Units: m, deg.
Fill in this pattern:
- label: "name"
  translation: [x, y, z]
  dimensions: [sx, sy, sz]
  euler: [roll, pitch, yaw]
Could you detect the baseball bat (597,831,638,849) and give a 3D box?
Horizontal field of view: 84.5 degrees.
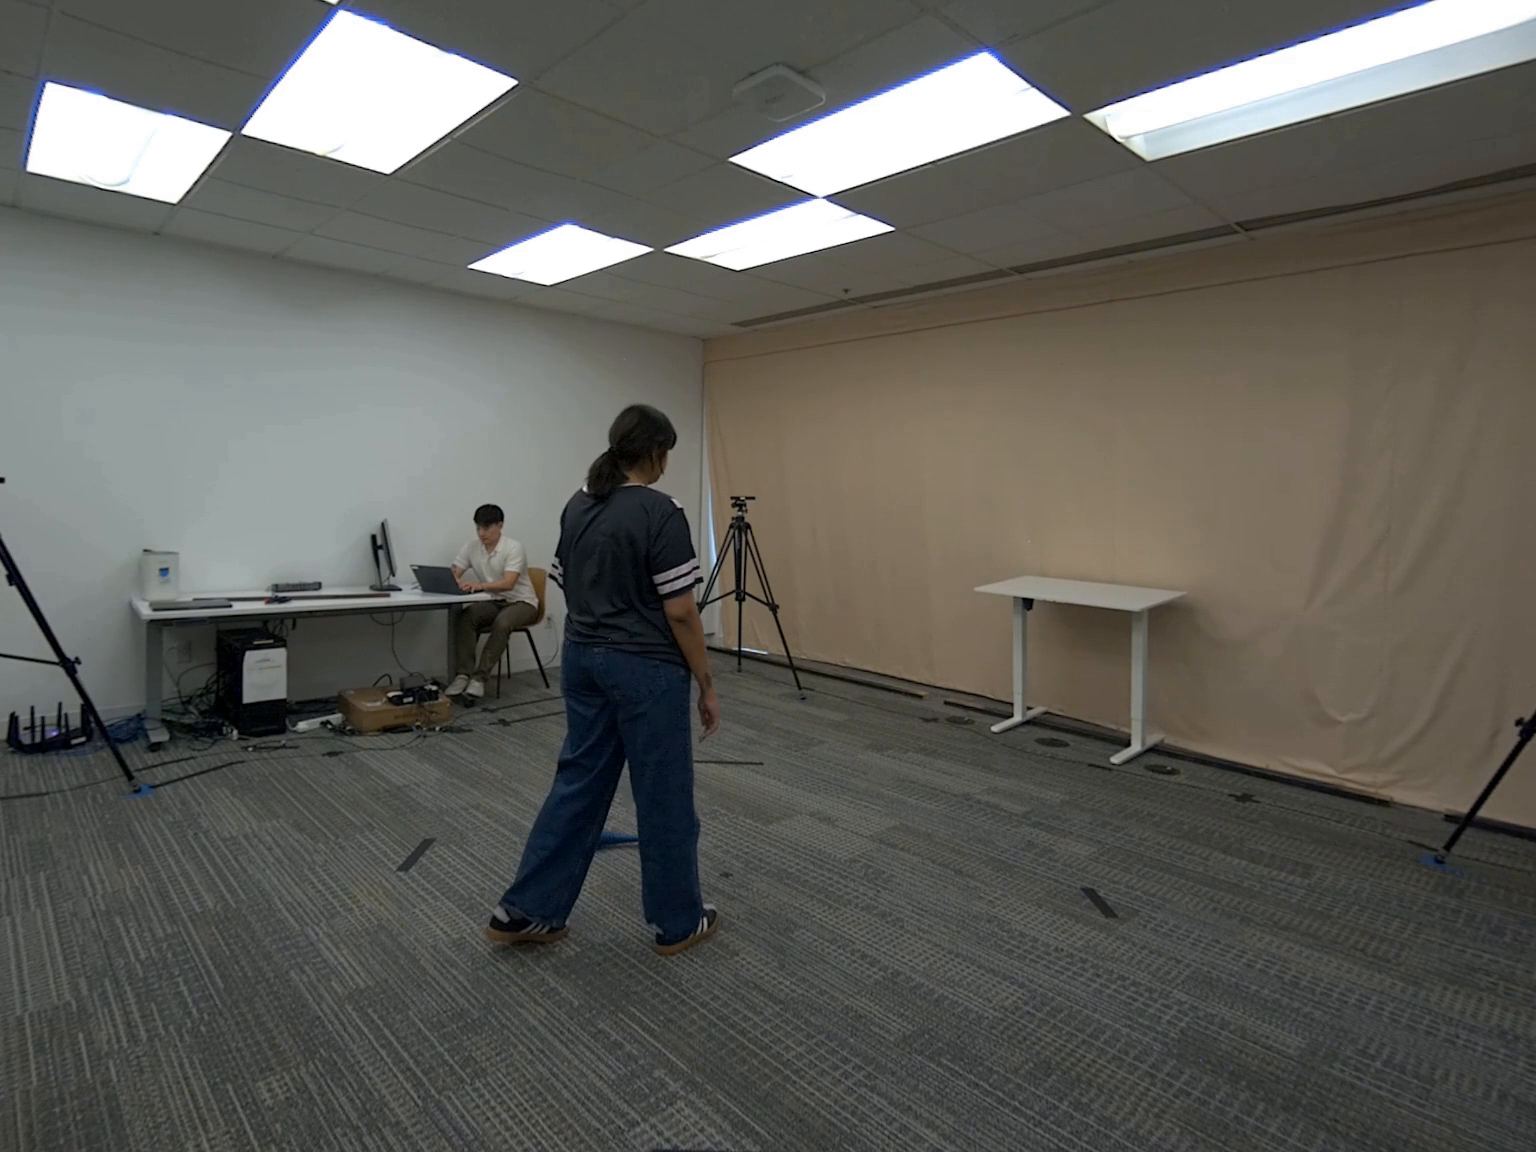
- label: "baseball bat"
  translation: [-0.659, 1.040, 3.321]
  dimensions: [0.538, 0.089, 0.090]
  euler: [4, 4, -10]
